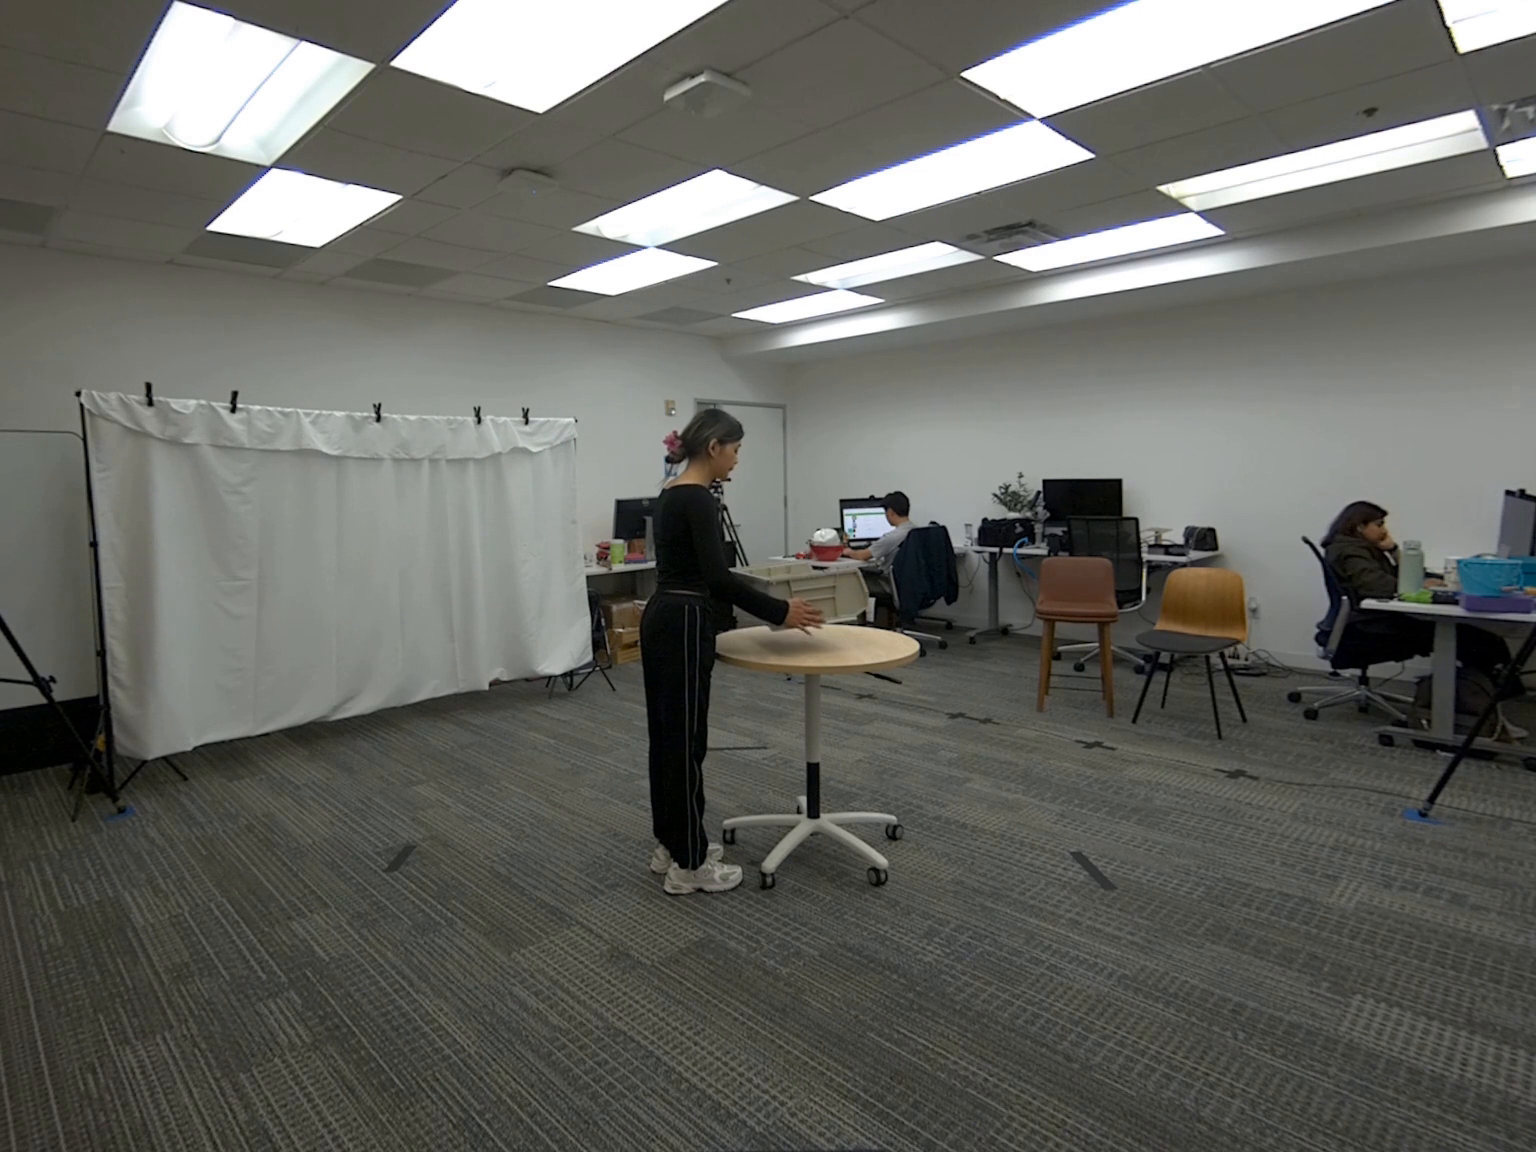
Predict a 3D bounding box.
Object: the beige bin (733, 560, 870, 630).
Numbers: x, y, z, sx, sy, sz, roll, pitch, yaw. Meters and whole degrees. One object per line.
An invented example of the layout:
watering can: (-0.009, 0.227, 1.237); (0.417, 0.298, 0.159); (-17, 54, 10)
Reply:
beige bin: (0.104, 0.058, 3.105); (0.371, 0.188, 0.431); (-8, 8, -20)
